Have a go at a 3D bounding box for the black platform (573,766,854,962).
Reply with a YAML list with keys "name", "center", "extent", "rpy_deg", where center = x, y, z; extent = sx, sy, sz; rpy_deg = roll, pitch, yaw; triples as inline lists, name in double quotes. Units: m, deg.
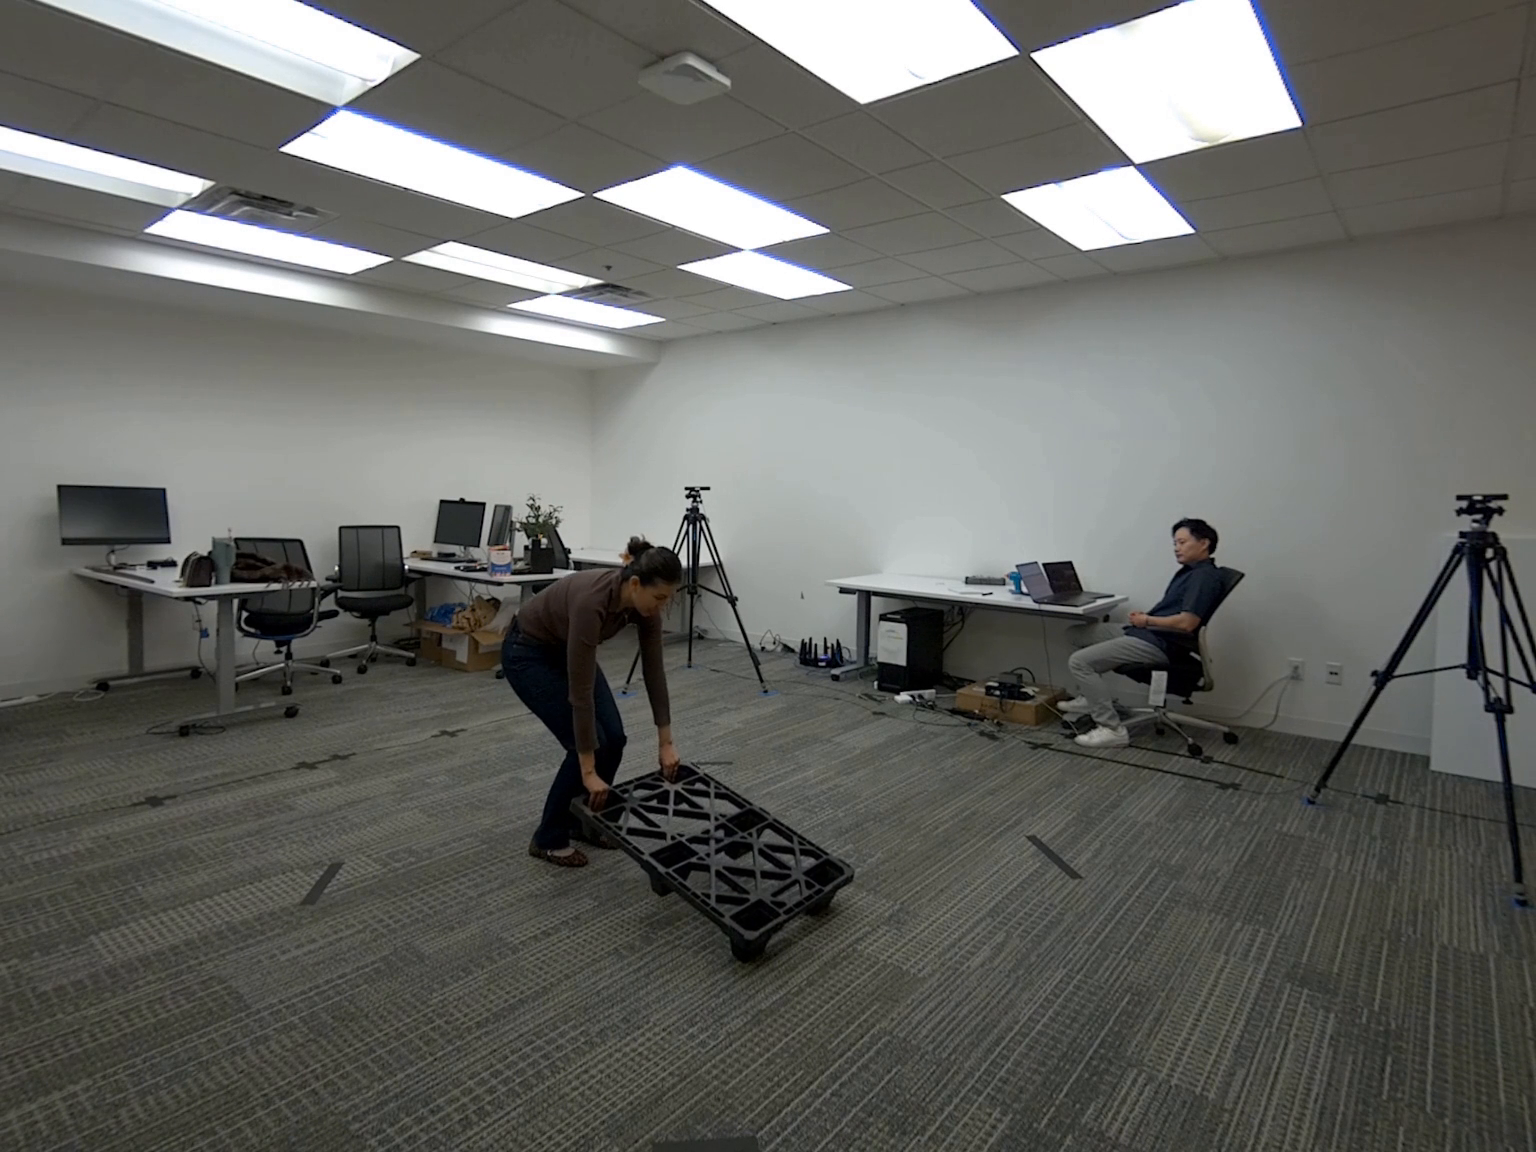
- name: "black platform"
  center: [-0.212, 0.930, 2.872]
  extent: [0.837, 0.142, 0.587]
  rpy_deg: [24, 17, 35]
